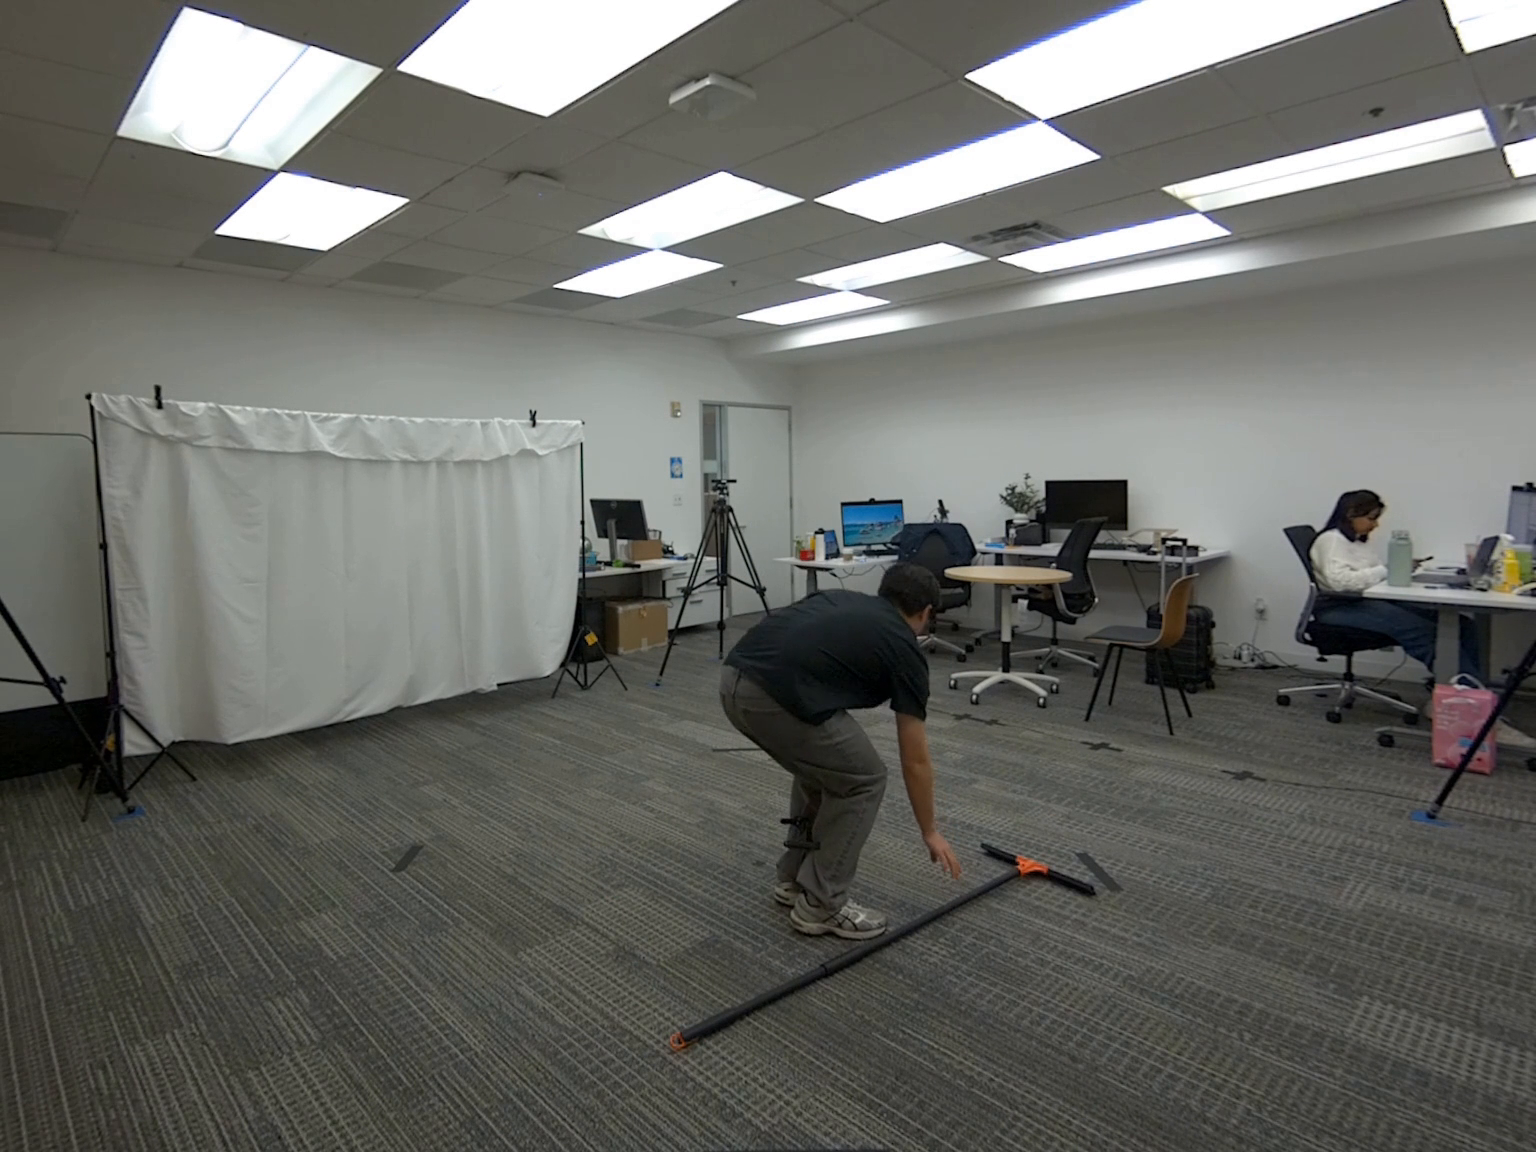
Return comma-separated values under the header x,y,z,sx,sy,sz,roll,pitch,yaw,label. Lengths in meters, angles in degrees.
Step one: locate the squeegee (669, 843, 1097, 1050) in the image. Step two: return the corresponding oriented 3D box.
x,y,z,sx,sy,sz,roll,pitch,yaw,label
0.370,1.065,2.550,1.499,0.053,0.451,-7,8,-38,squeegee
